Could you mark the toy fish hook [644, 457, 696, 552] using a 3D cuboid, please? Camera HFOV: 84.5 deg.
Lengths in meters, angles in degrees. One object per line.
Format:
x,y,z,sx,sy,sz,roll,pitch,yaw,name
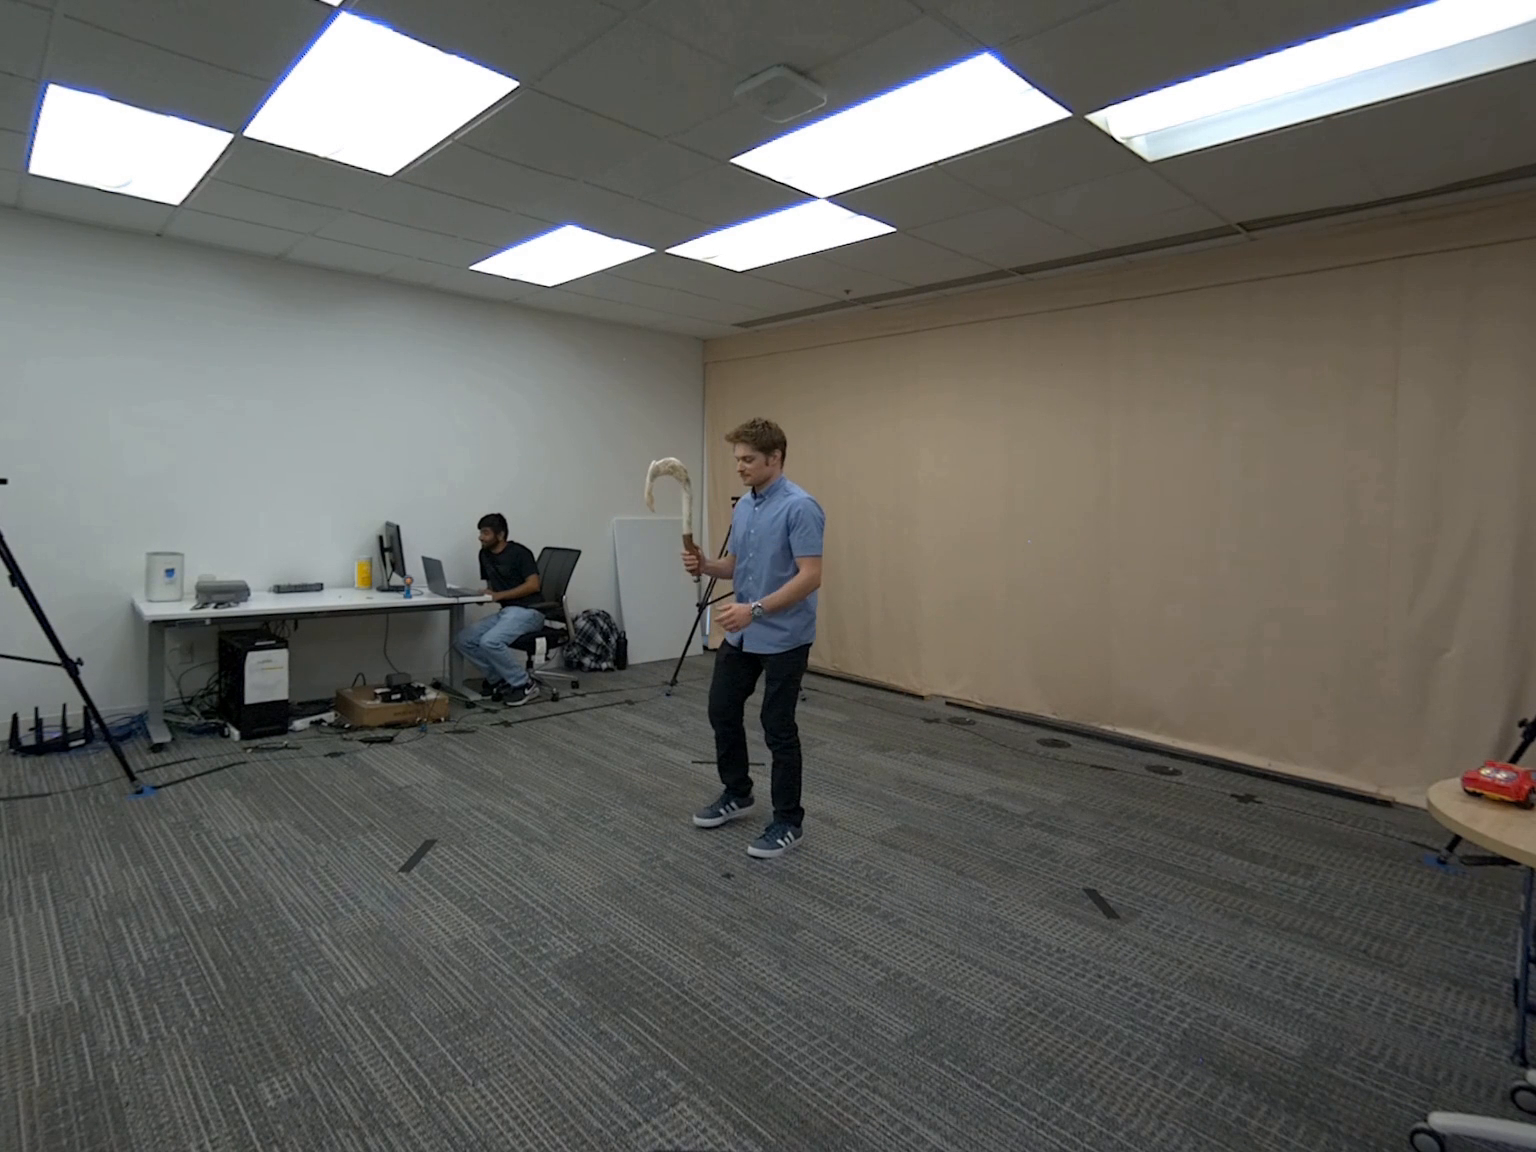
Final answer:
-0.378,-0.207,3.303,0.221,0.504,0.049,-16,8,-34,toy fish hook
